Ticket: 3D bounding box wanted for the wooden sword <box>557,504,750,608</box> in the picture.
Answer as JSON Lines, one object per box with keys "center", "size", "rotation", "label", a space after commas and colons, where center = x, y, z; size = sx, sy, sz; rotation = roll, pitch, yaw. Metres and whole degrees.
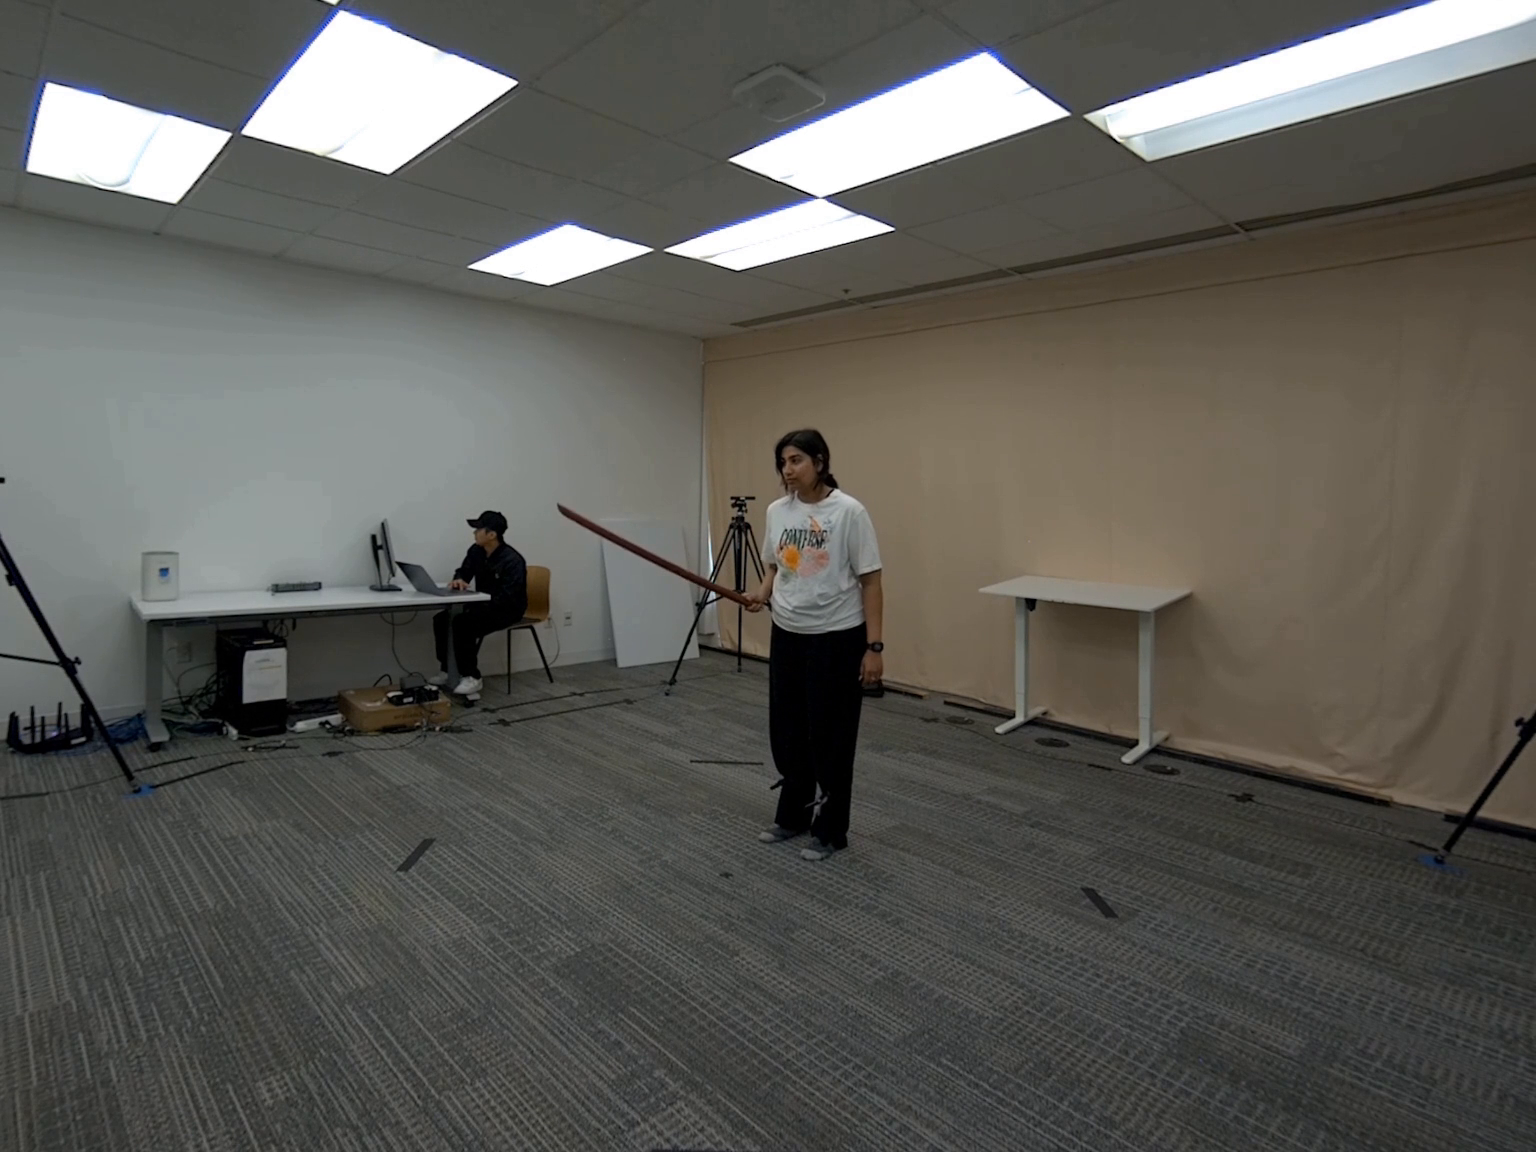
{"center": [-0.360, -0.036, 3.004], "size": [0.024, 0.051, 0.993], "rotation": [2, -20, 45], "label": "wooden sword"}
